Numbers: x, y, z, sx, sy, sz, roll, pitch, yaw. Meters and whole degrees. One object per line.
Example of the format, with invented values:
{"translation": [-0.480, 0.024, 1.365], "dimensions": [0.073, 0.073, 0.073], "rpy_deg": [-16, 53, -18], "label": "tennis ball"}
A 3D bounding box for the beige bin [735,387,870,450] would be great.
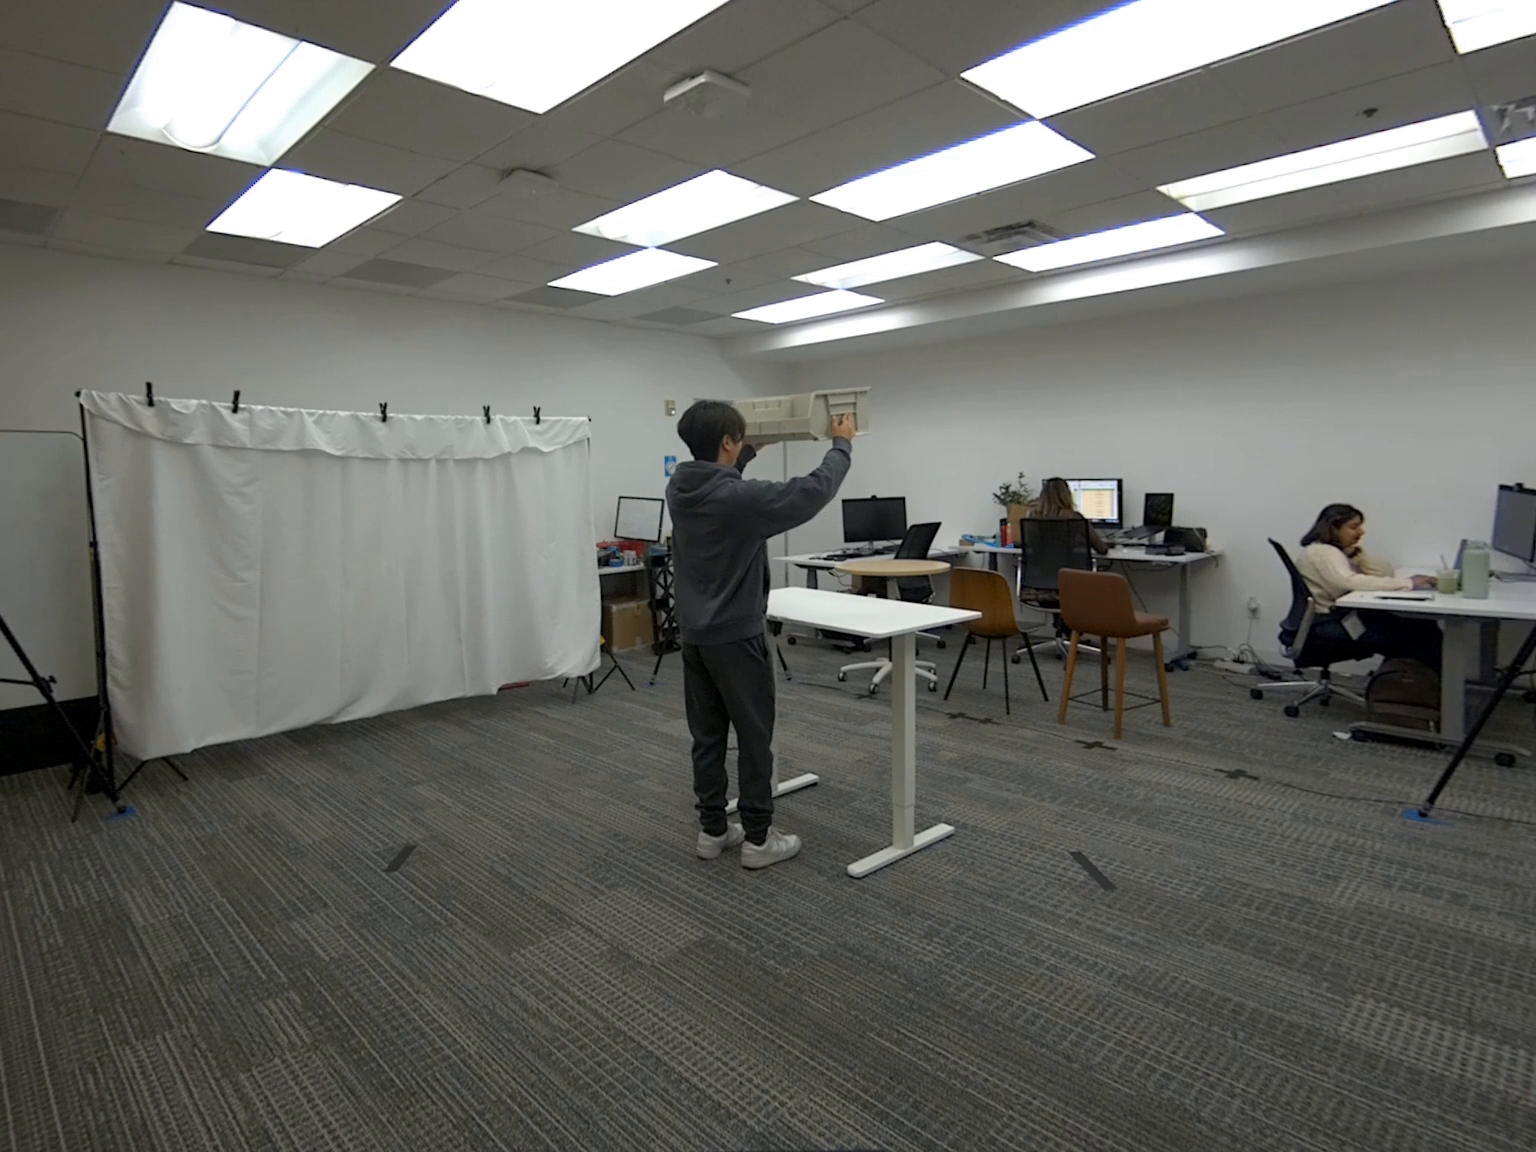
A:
{"translation": [0.132, -0.622, 3.346], "dimensions": [0.435, 0.187, 0.369], "rpy_deg": [5, 14, 45], "label": "beige bin"}
